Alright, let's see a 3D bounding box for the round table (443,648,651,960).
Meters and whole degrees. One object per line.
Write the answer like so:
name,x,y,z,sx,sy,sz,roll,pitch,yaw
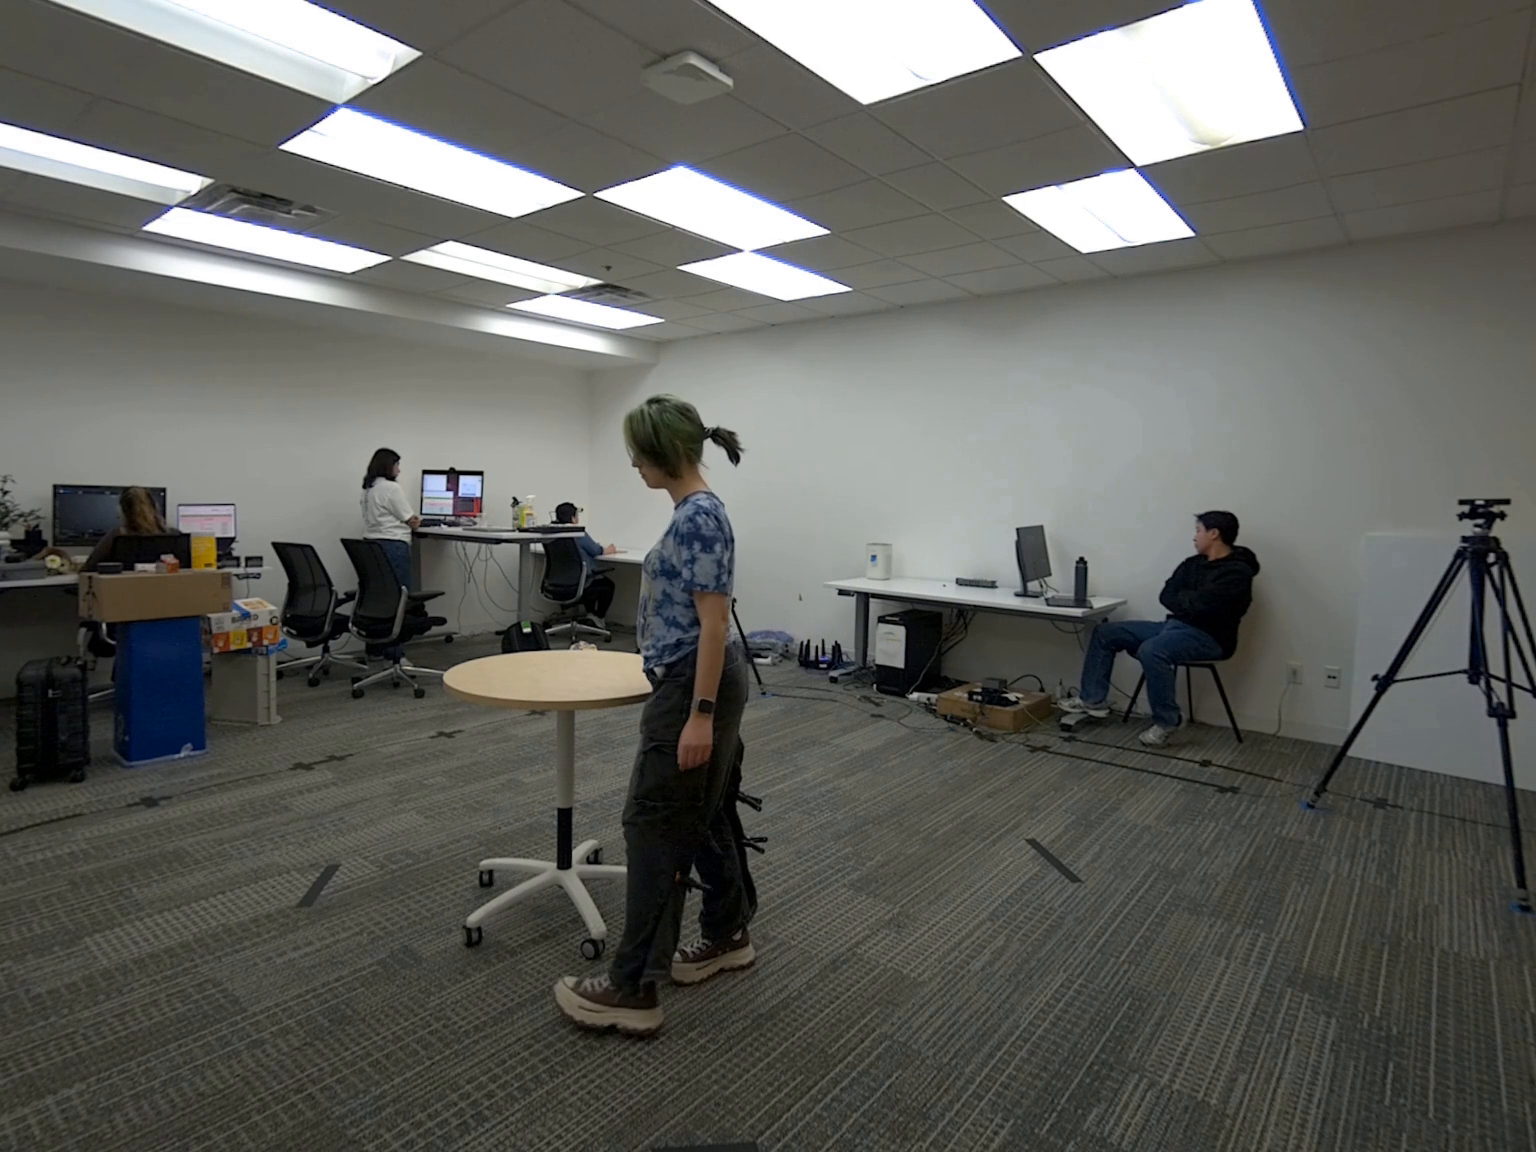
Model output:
round table,-0.678,0.706,2.781,0.763,0.791,0.767,0,4,-2
